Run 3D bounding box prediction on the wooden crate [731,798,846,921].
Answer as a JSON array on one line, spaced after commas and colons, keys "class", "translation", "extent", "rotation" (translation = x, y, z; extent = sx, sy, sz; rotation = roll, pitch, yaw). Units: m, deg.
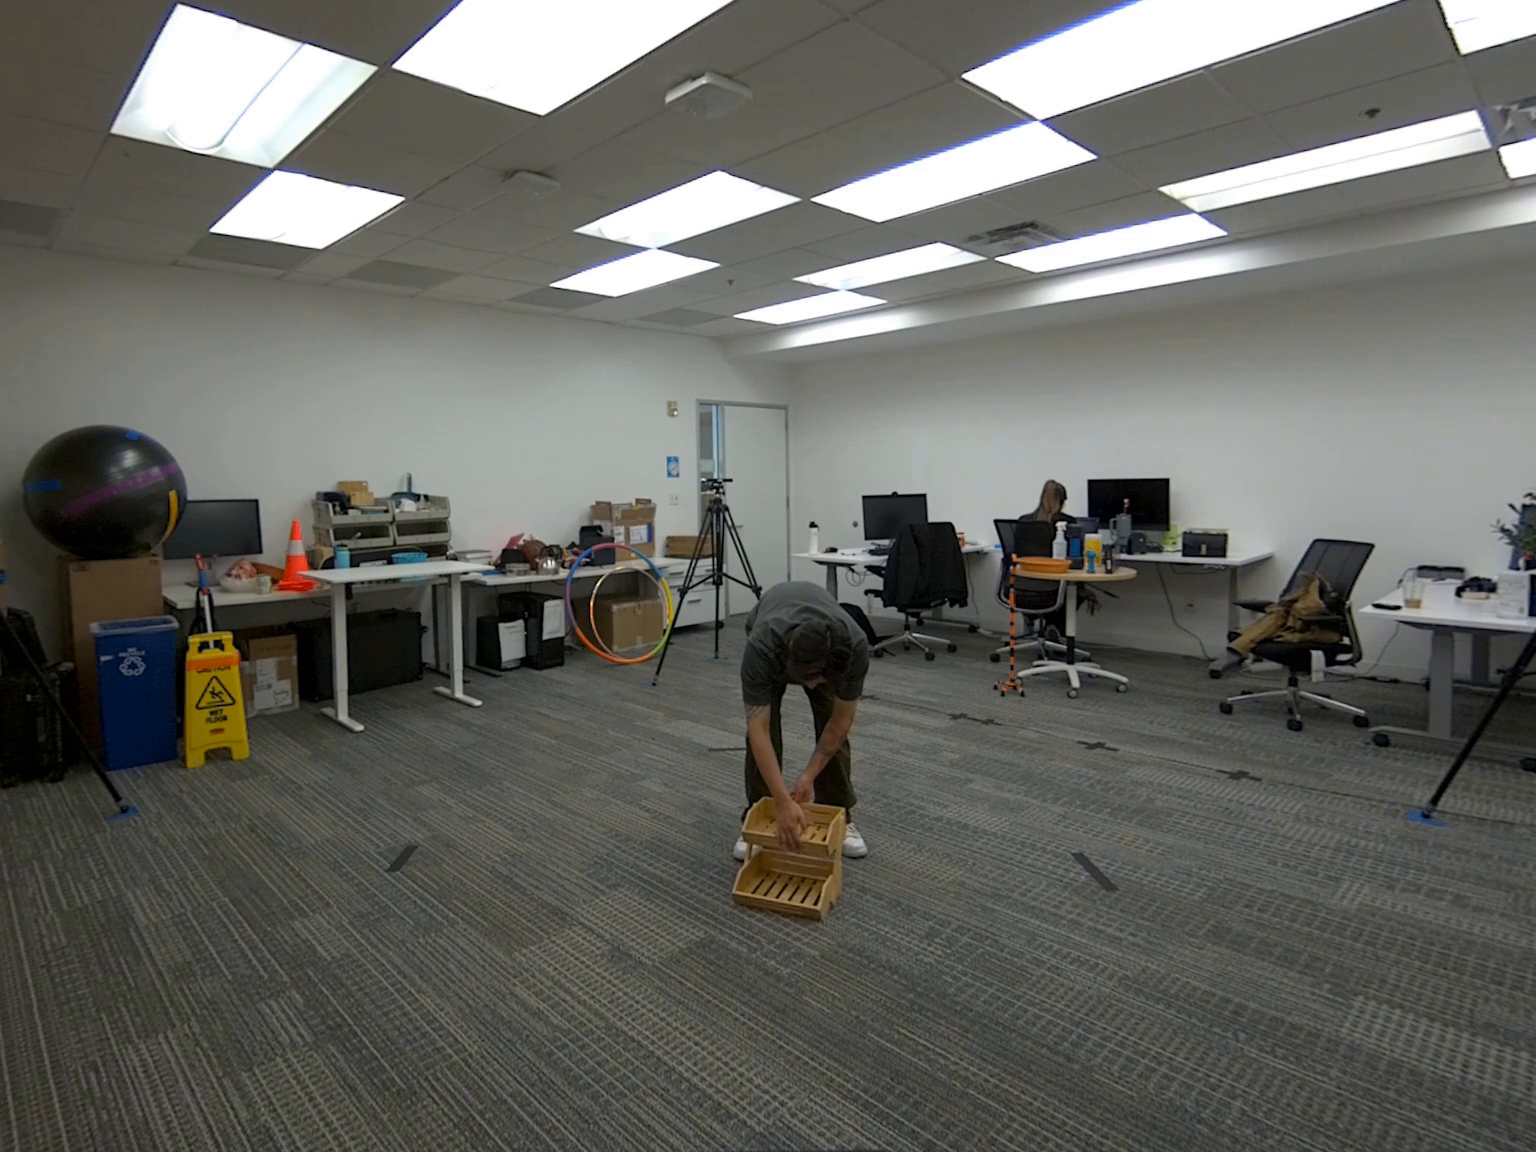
[{"class": "wooden crate", "translation": [0.078, 0.944, 2.853], "extent": [0.331, 0.272, 0.297], "rotation": [1, 6, 22]}]
